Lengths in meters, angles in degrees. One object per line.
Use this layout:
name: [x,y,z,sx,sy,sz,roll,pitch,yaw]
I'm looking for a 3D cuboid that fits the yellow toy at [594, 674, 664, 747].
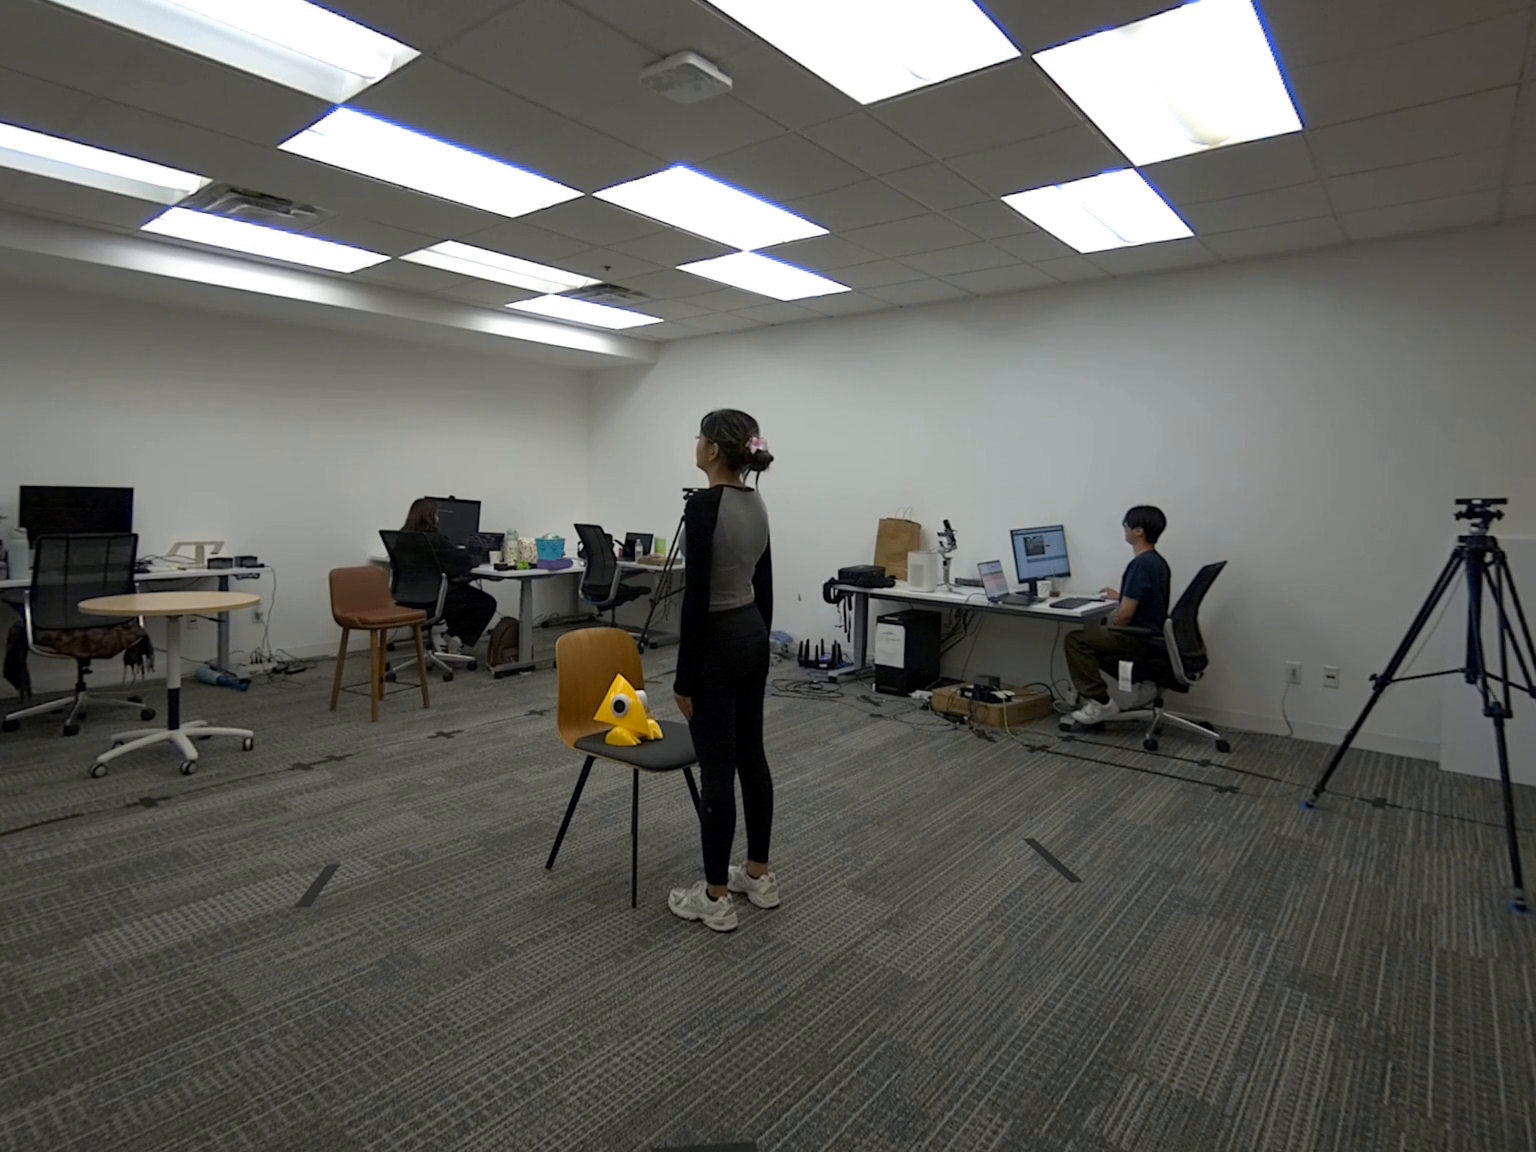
yellow toy: [-0.510,0.481,3.087,0.199,0.231,0.198,-2,0,41]
